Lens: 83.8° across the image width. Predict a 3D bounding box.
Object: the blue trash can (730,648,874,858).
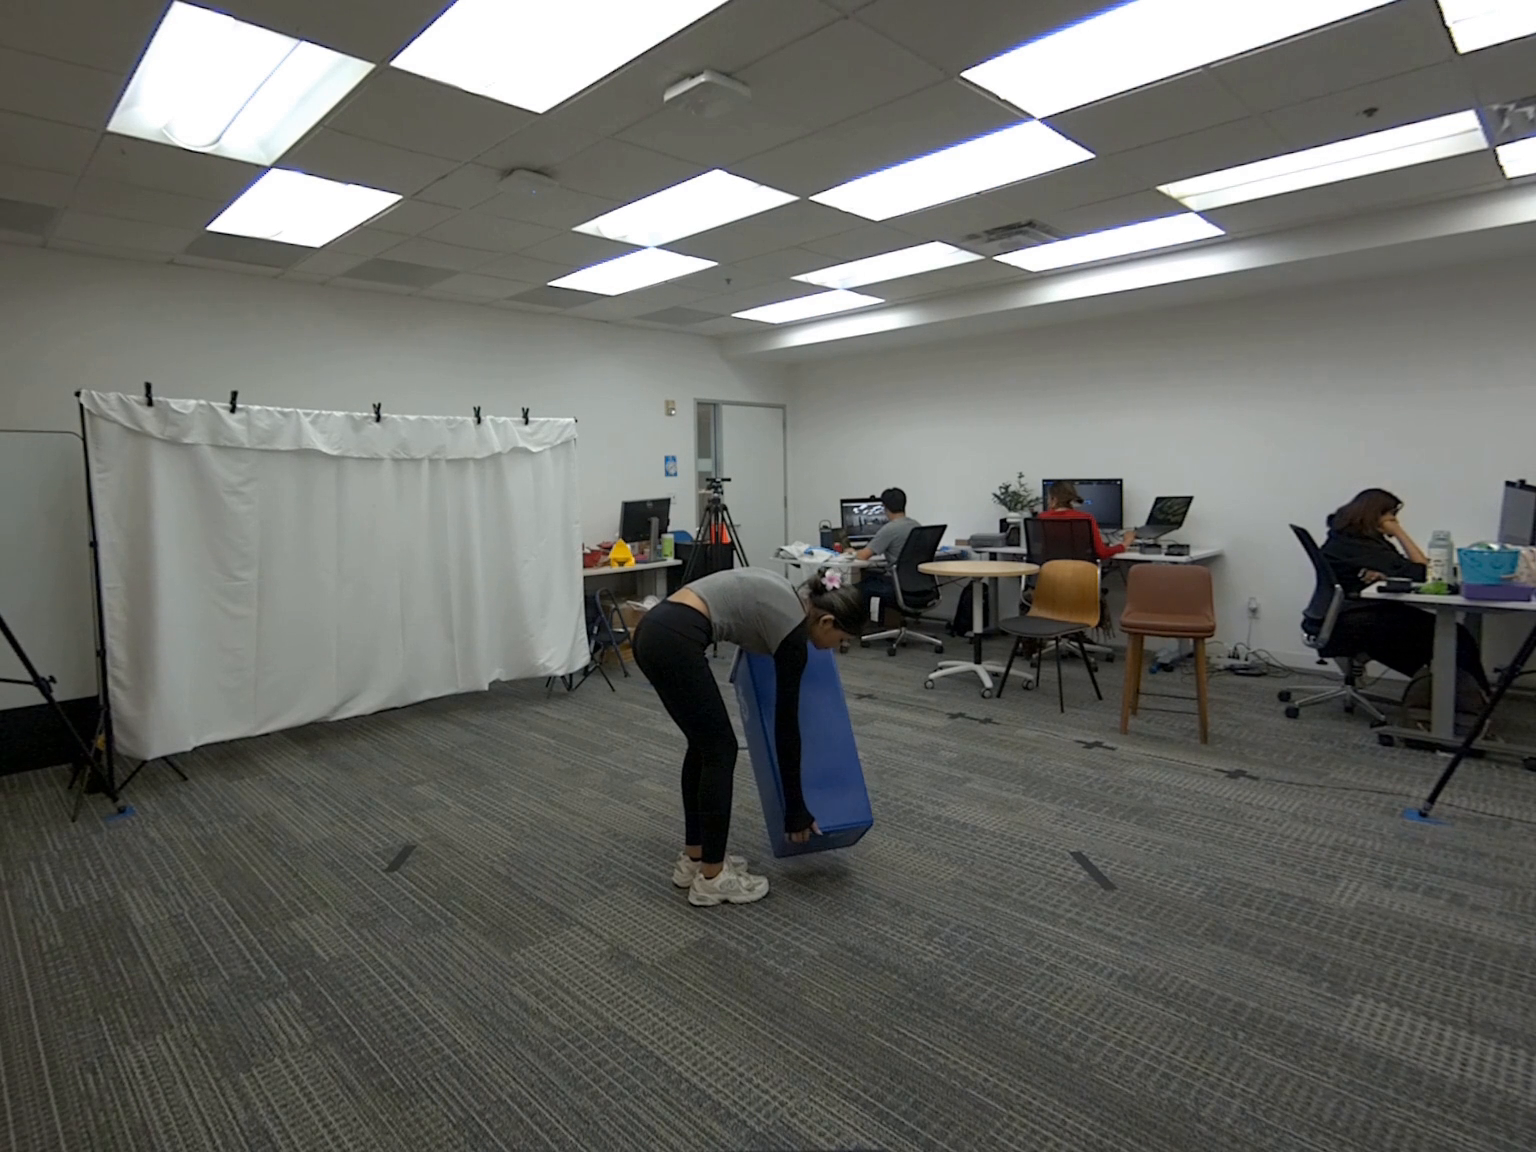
[{"bbox_3d":[0.124,0.610,3.134,0.374,0.735,0.367,-6,-32,-13],"label":"blue trash can"}]
